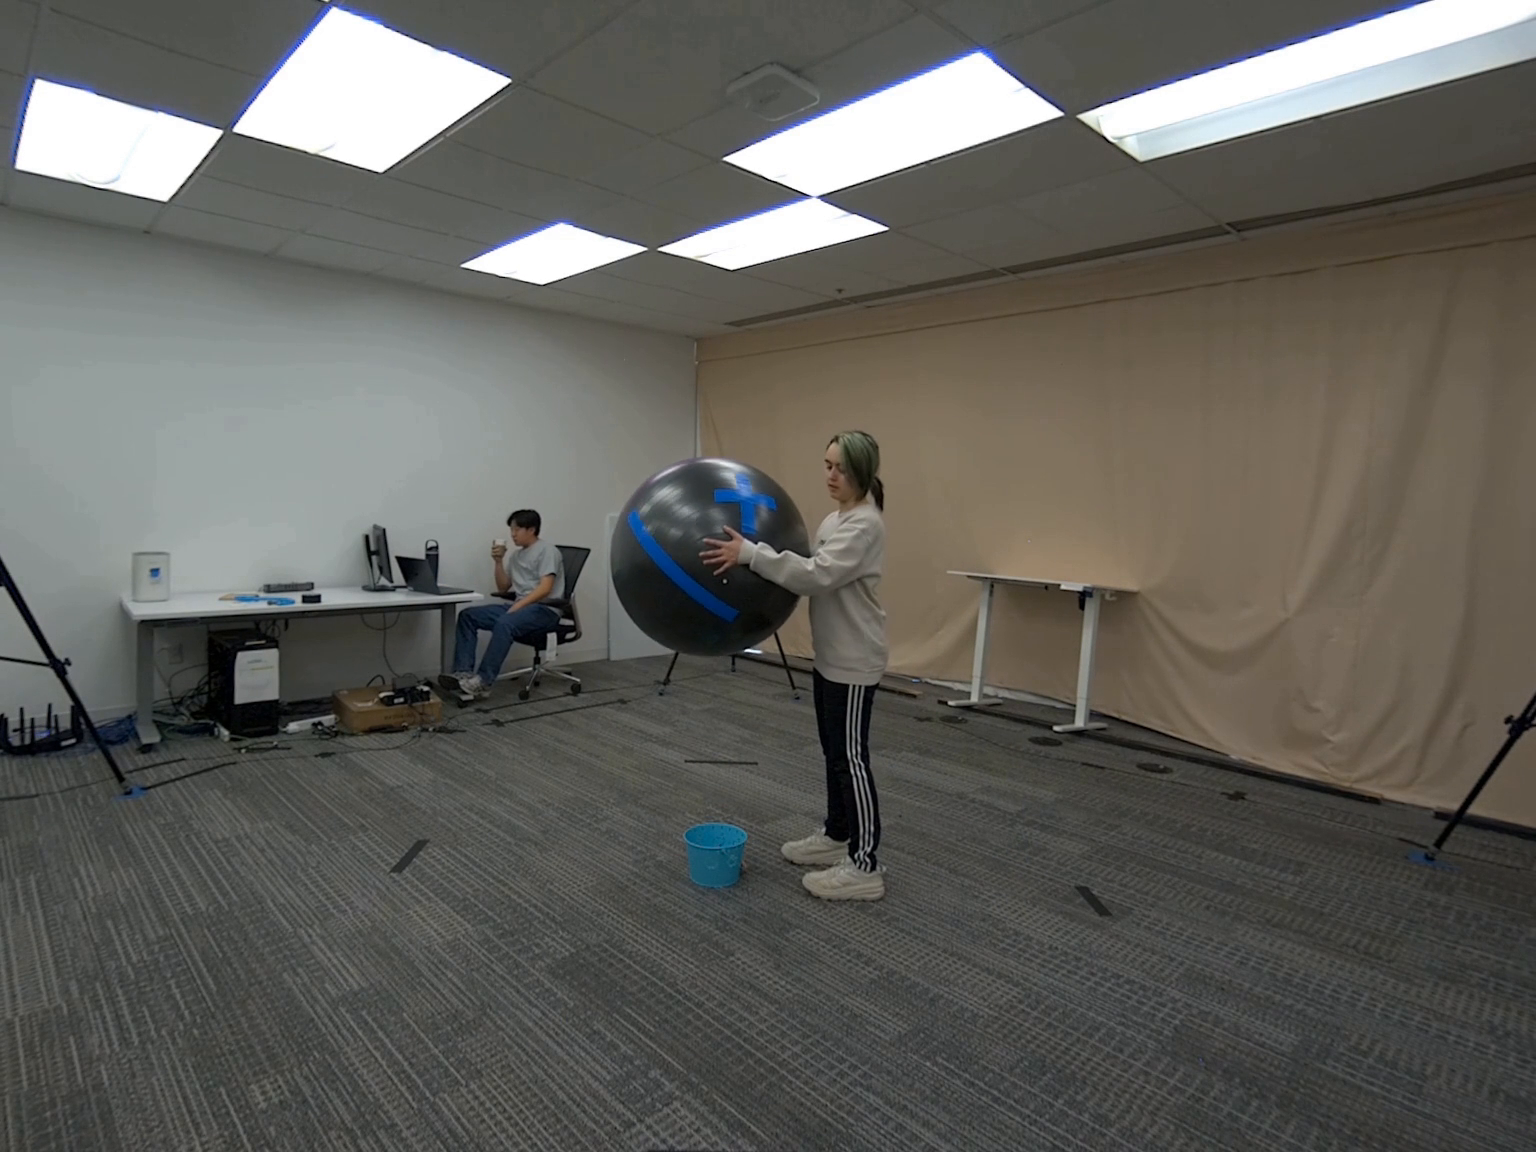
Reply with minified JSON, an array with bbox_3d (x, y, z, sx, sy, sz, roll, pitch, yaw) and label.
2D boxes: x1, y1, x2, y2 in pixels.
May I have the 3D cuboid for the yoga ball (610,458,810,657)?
[{"bbox_3d":[-0.232,-0.062,3.220,0.757,0.756,0.761,1,4,-1],"label":"yoga ball"}]
